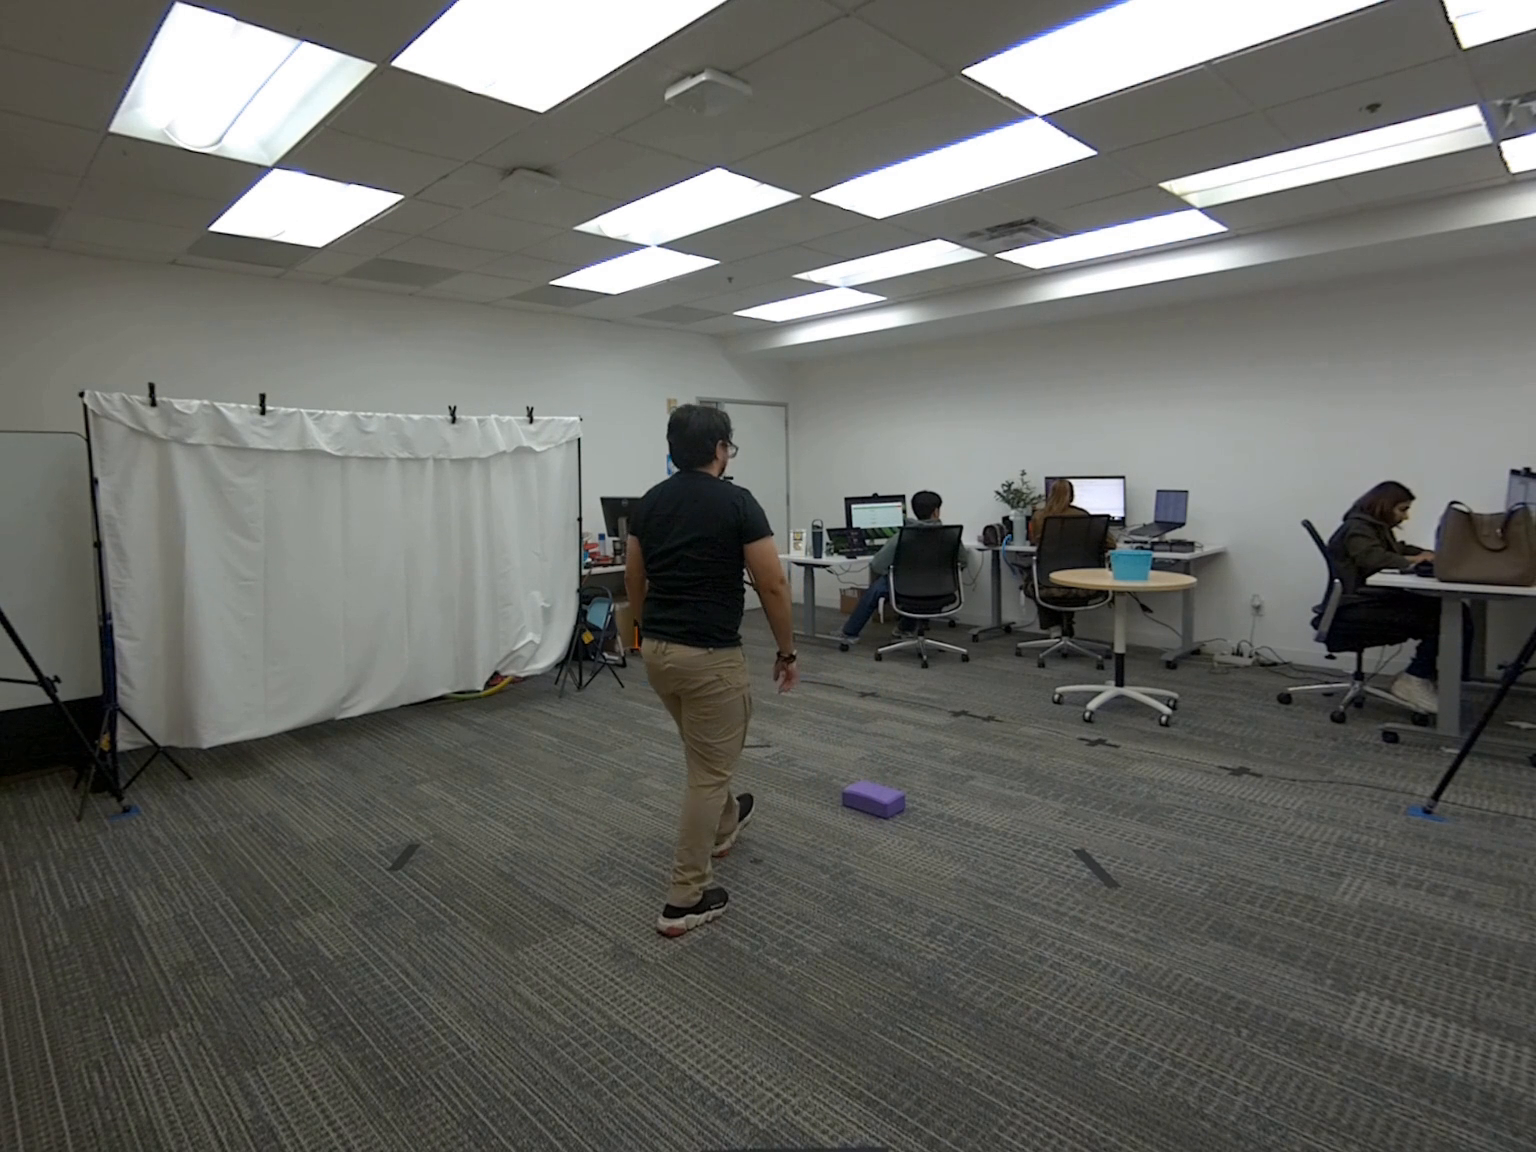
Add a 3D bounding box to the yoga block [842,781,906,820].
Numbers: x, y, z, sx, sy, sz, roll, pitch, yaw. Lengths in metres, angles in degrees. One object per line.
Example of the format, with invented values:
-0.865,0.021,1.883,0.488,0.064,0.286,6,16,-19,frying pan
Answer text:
0.444,0.934,3.585,0.236,0.076,0.145,5,10,44,yoga block
